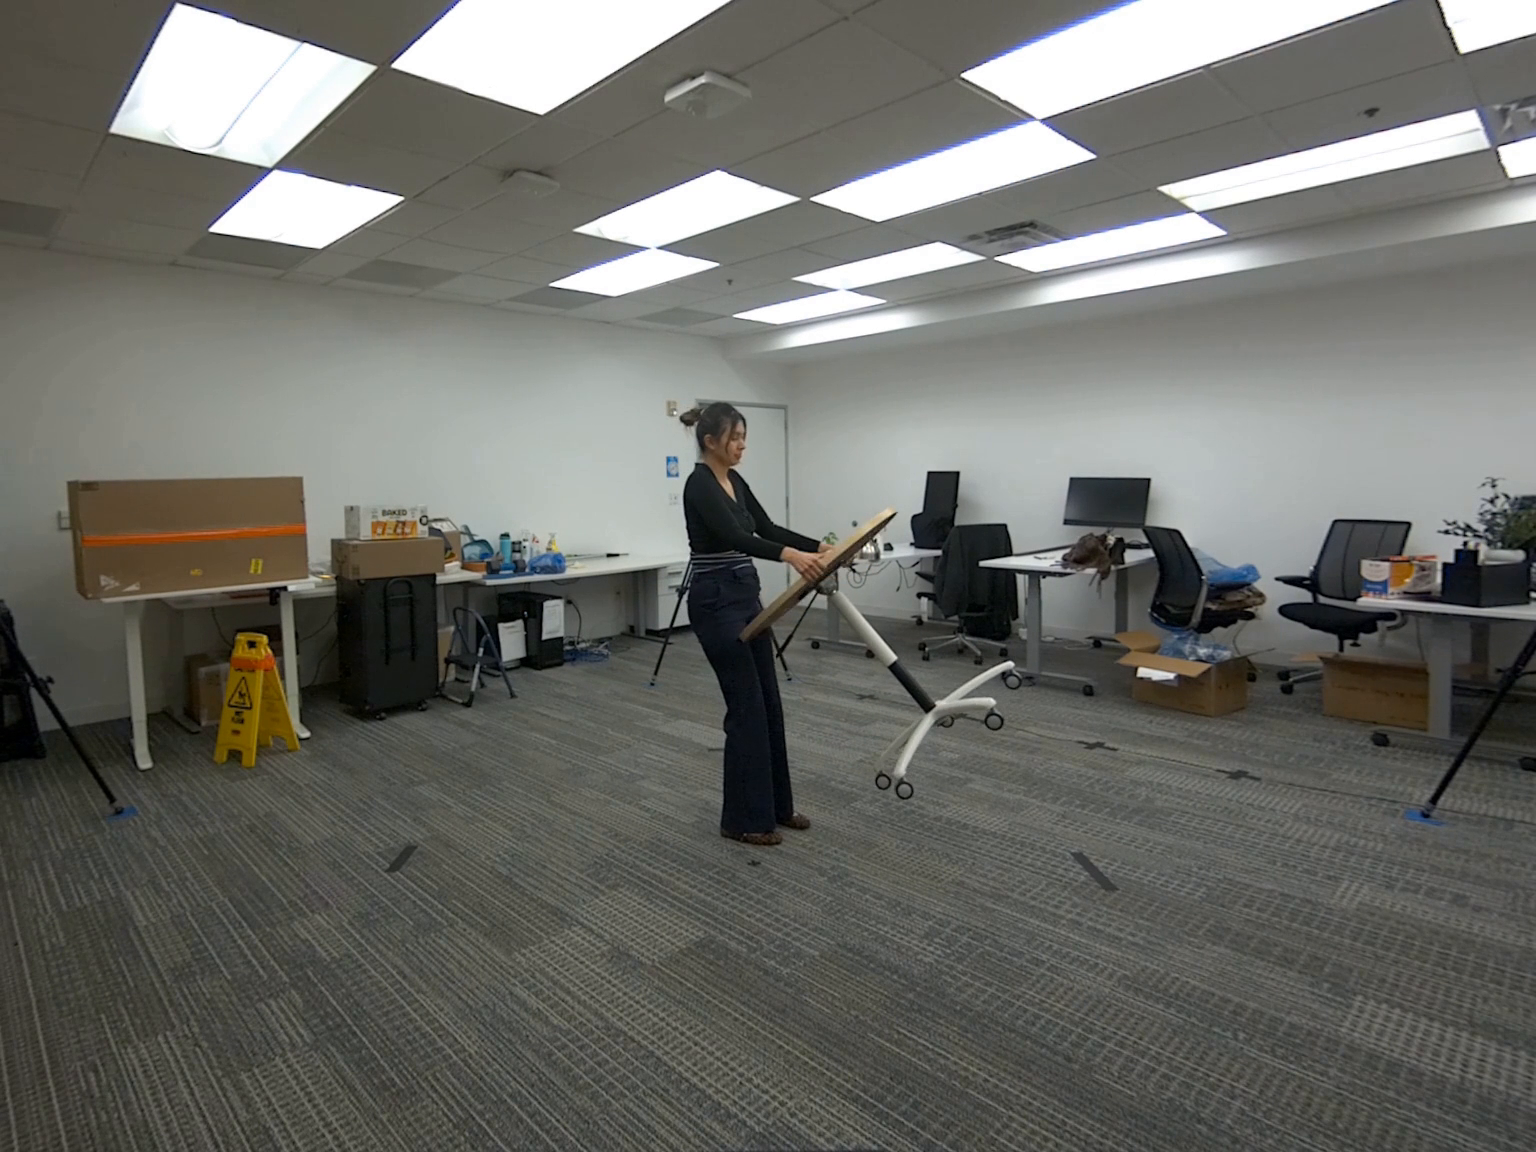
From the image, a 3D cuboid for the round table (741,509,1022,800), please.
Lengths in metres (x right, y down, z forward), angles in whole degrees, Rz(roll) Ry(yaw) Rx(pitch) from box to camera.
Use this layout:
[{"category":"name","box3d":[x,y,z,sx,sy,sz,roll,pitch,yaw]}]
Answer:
[{"category":"round table","box3d":[0.441,0.298,3.200,0.762,0.803,0.757,-38,-7,-8]}]
